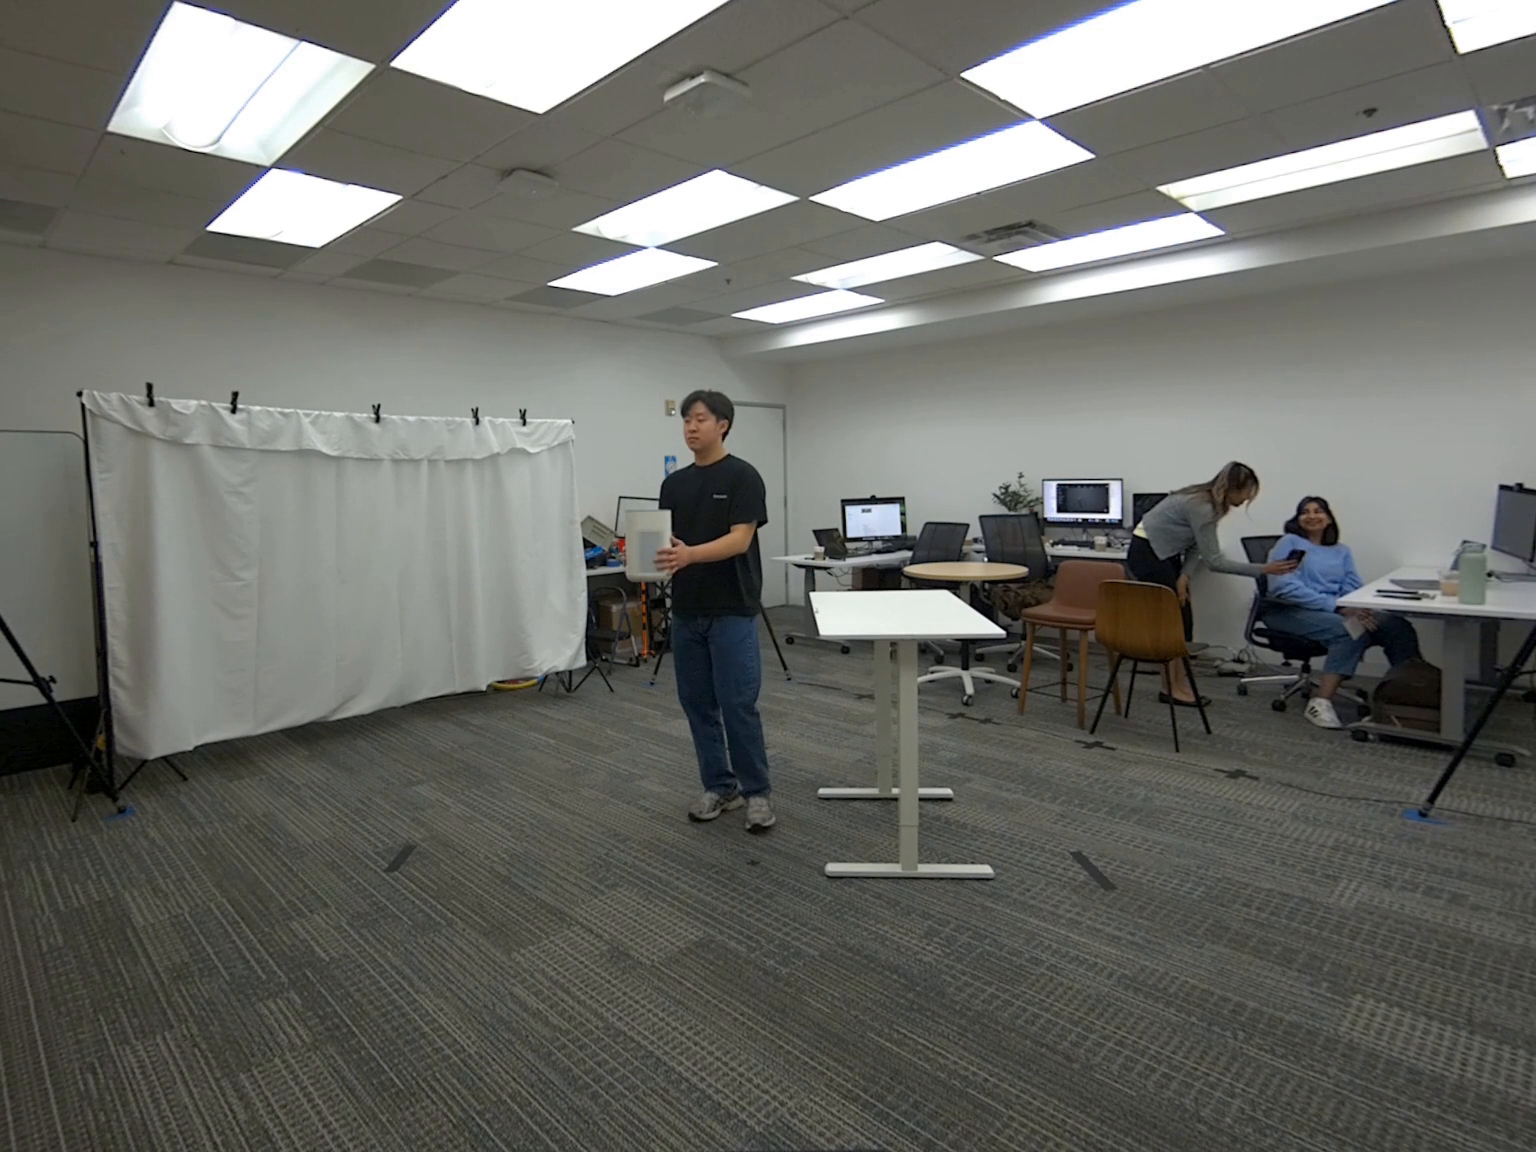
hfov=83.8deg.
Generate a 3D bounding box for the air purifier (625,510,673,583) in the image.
[{"bbox_3d":[-0.446,-0.112,3.209,0.170,0.265,0.173,0,2,-11],"label":"air purifier"}]
